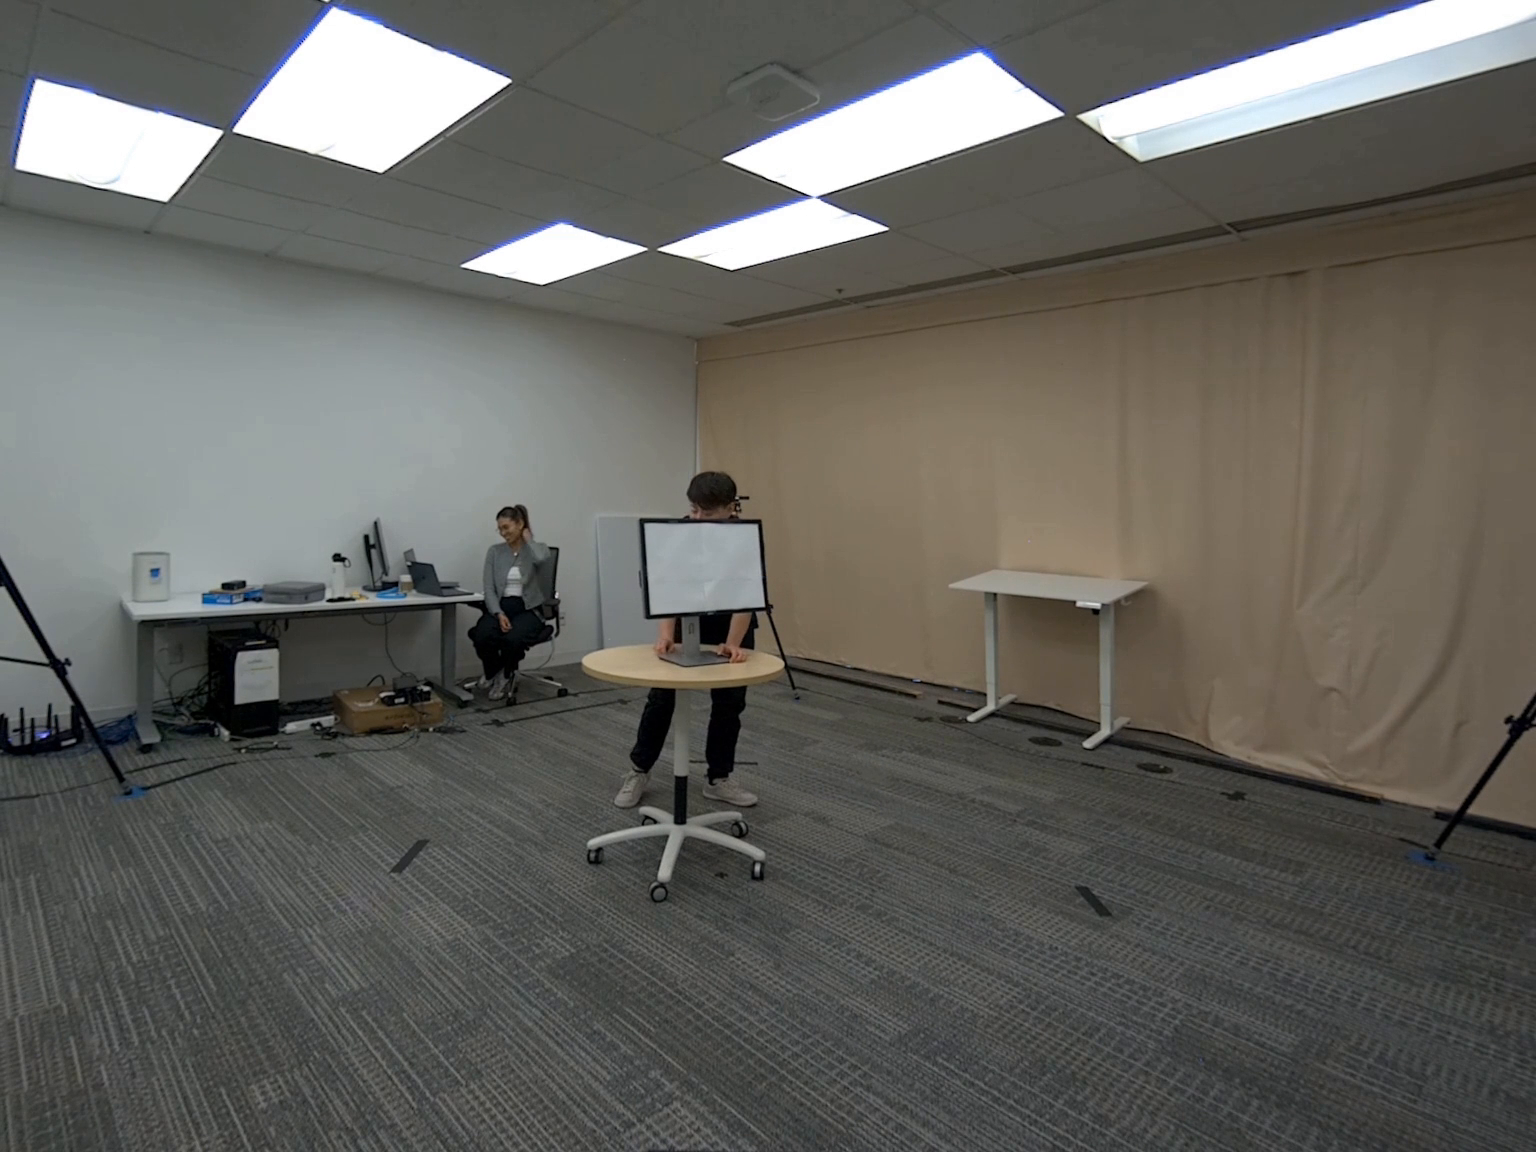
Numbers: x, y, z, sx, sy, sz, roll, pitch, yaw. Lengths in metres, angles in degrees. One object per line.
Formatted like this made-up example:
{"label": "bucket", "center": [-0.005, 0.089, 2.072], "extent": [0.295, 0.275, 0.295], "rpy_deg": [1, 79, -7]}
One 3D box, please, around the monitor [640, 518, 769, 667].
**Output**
{"label": "monitor", "center": [-0.270, 0.055, 3.192], "extent": [0.527, 0.521, 0.192], "rpy_deg": [-3, 7, -39]}
